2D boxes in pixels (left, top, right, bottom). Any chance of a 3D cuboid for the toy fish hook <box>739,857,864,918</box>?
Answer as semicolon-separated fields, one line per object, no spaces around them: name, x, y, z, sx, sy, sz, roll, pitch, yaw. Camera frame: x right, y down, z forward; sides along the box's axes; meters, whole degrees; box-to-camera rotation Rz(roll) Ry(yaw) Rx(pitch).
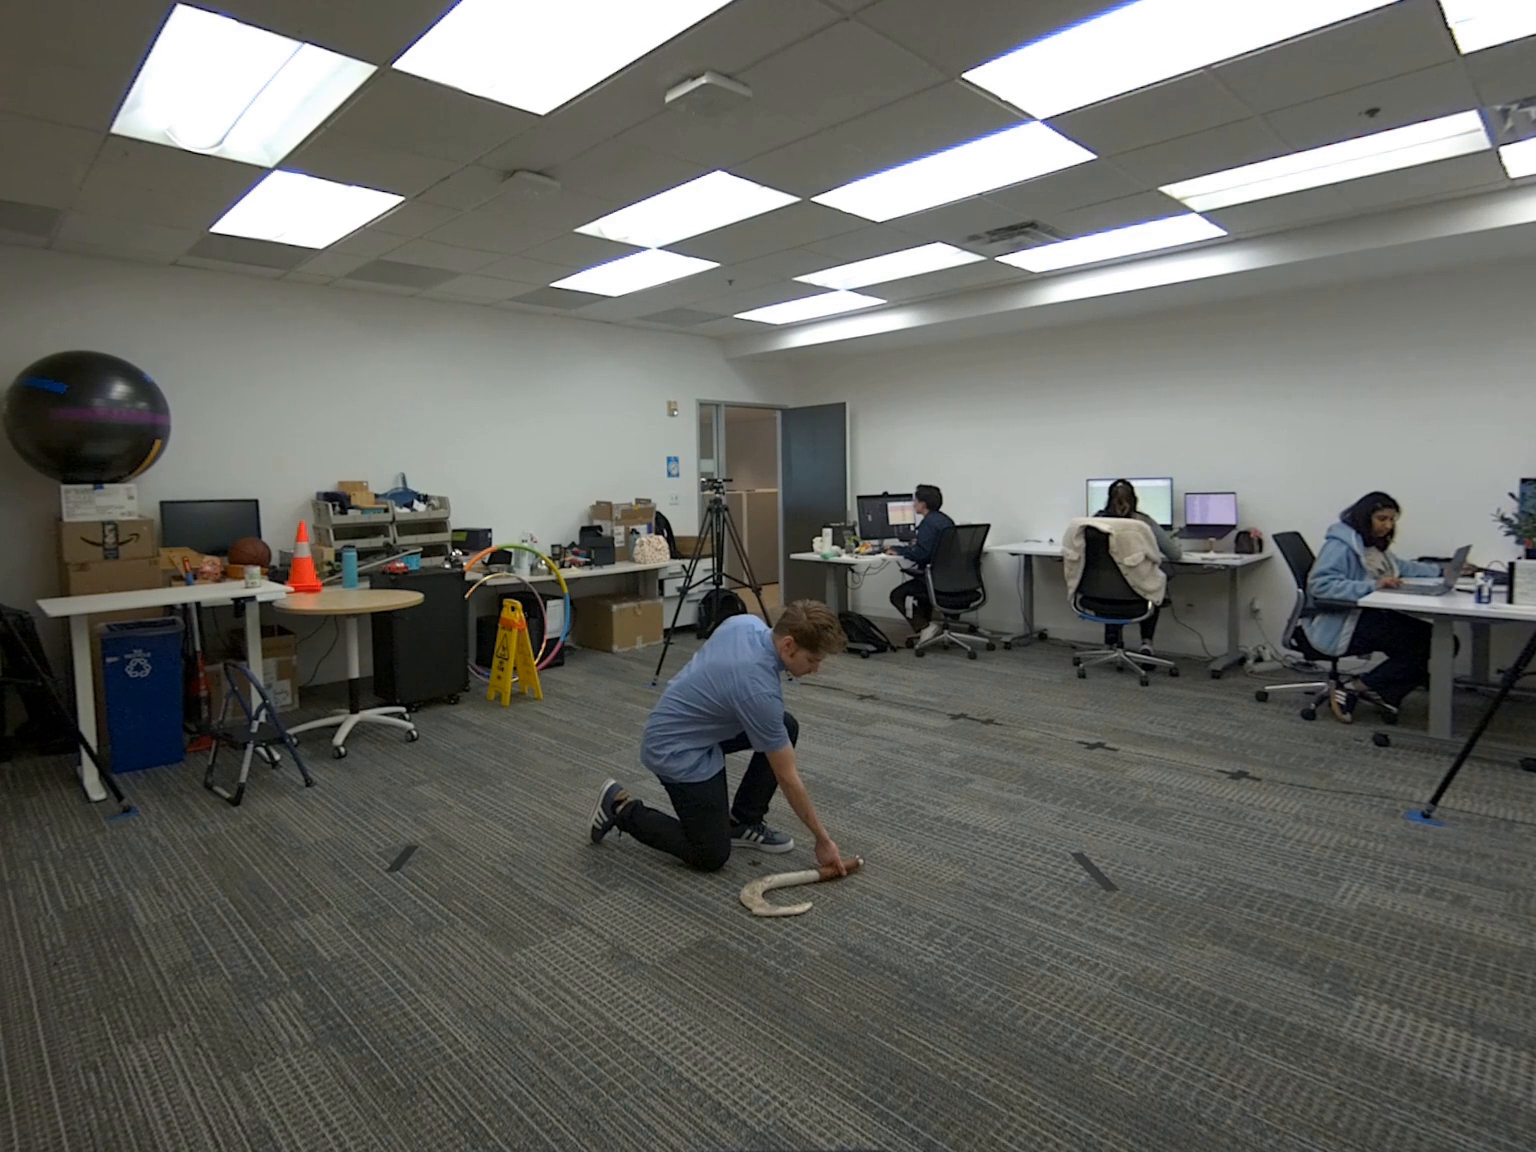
toy fish hook;0.148;1.051;2.880;0.495;0.048;0.232;-7;16;-29
